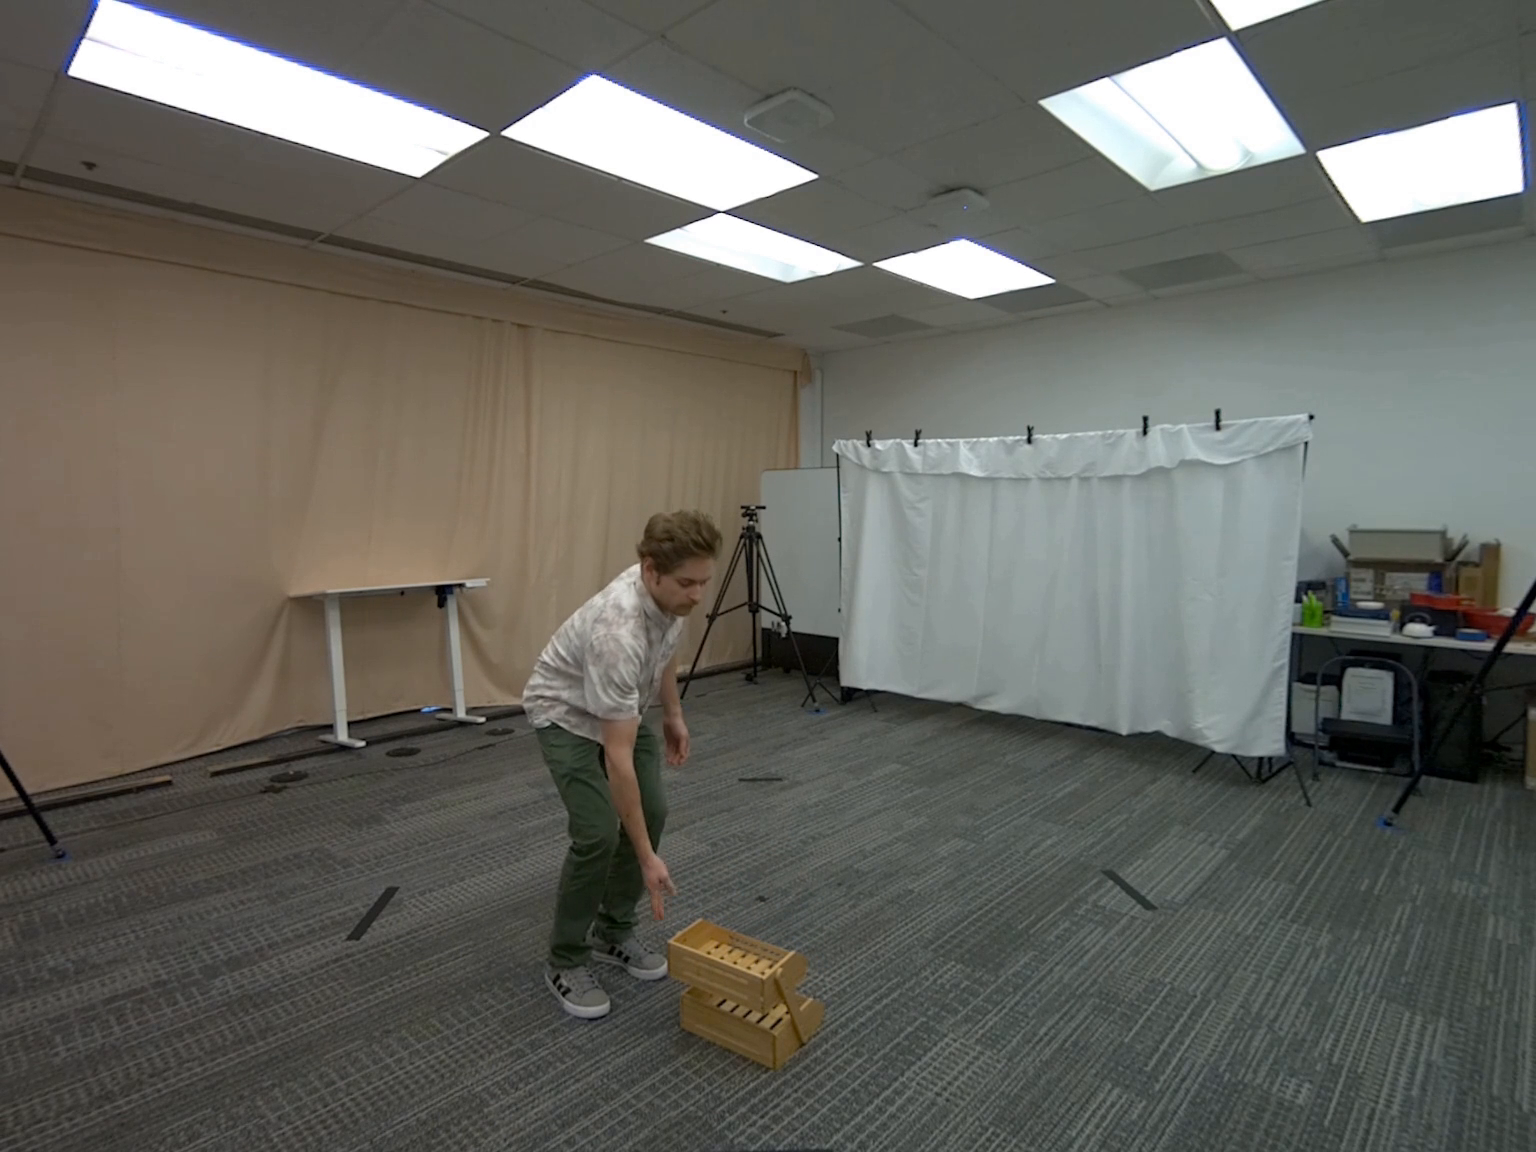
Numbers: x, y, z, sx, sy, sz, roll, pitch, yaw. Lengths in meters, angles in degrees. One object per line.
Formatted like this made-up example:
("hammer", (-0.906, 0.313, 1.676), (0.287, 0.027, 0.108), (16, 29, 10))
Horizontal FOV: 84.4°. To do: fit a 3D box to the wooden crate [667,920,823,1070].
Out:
("wooden crate", (-0.054, 1.073, 2.231), (0.334, 0.272, 0.294), (3, 6, 33))
